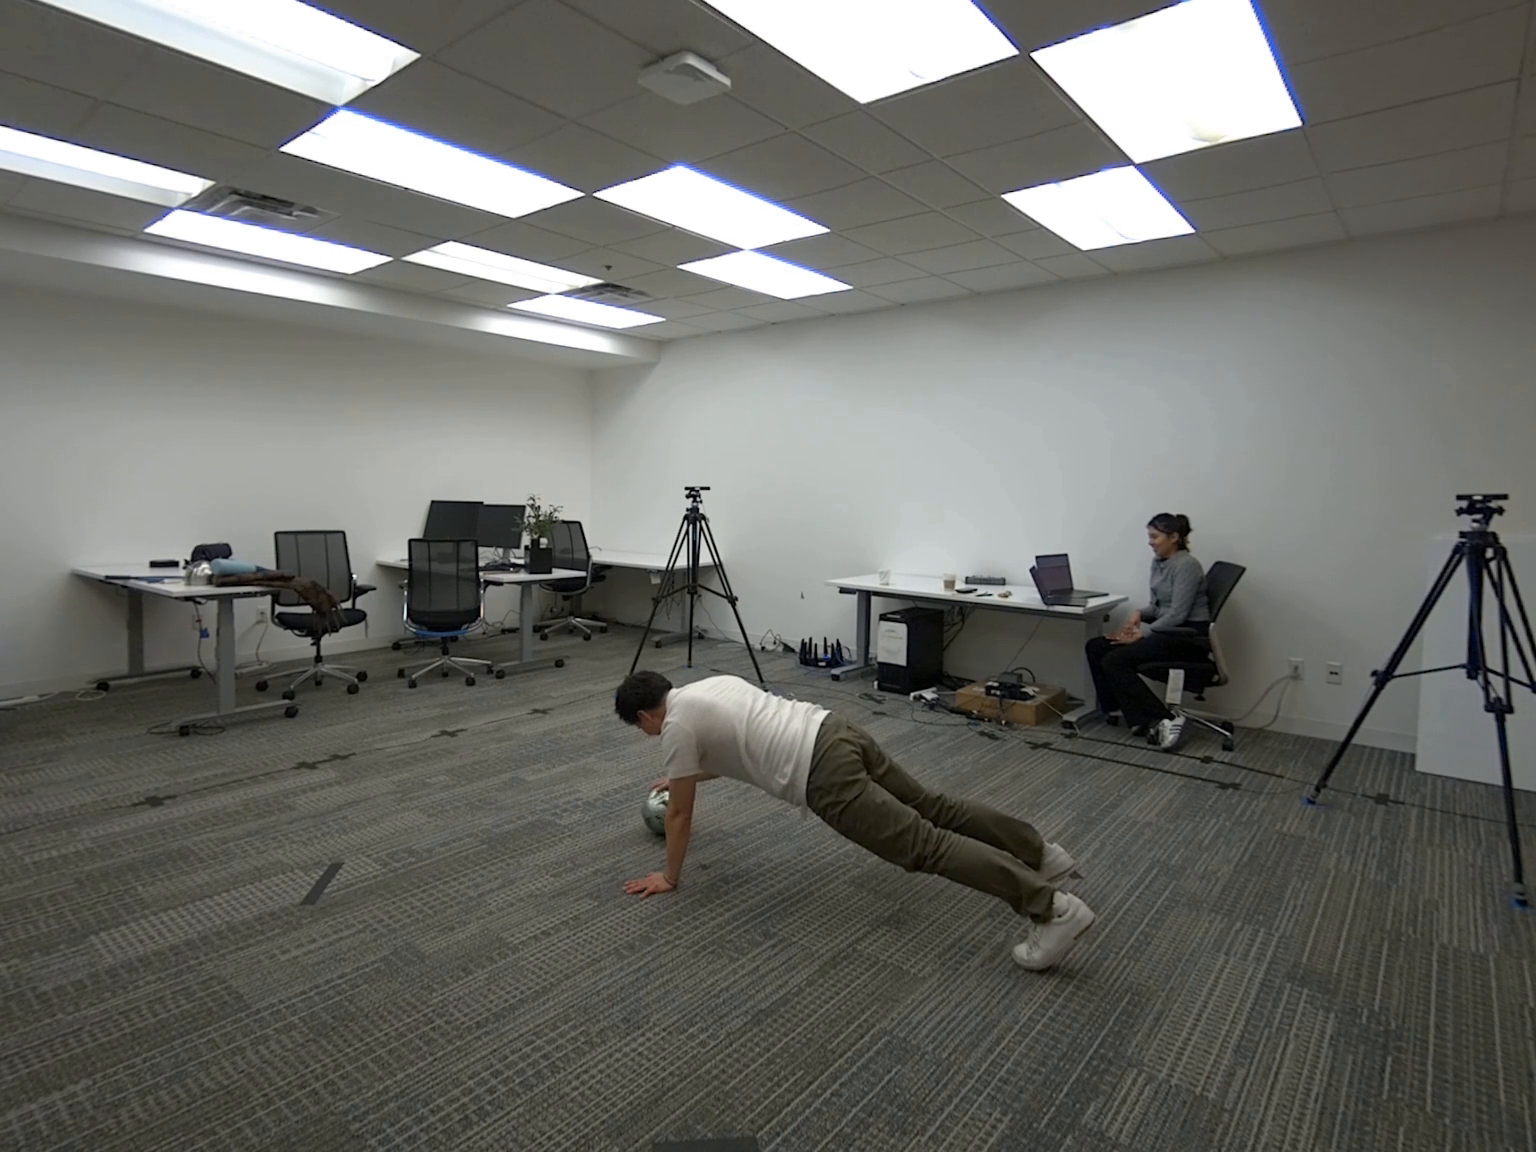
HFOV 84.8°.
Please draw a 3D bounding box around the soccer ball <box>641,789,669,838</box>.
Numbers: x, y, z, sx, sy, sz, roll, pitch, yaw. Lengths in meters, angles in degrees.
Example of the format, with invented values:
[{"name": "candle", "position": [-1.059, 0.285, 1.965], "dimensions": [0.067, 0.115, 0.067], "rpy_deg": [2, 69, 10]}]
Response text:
[{"name": "soccer ball", "position": [-0.405, 0.938, 3.419], "dimensions": [0.187, 0.187, 0.188], "rpy_deg": [1, 4, -2]}]
